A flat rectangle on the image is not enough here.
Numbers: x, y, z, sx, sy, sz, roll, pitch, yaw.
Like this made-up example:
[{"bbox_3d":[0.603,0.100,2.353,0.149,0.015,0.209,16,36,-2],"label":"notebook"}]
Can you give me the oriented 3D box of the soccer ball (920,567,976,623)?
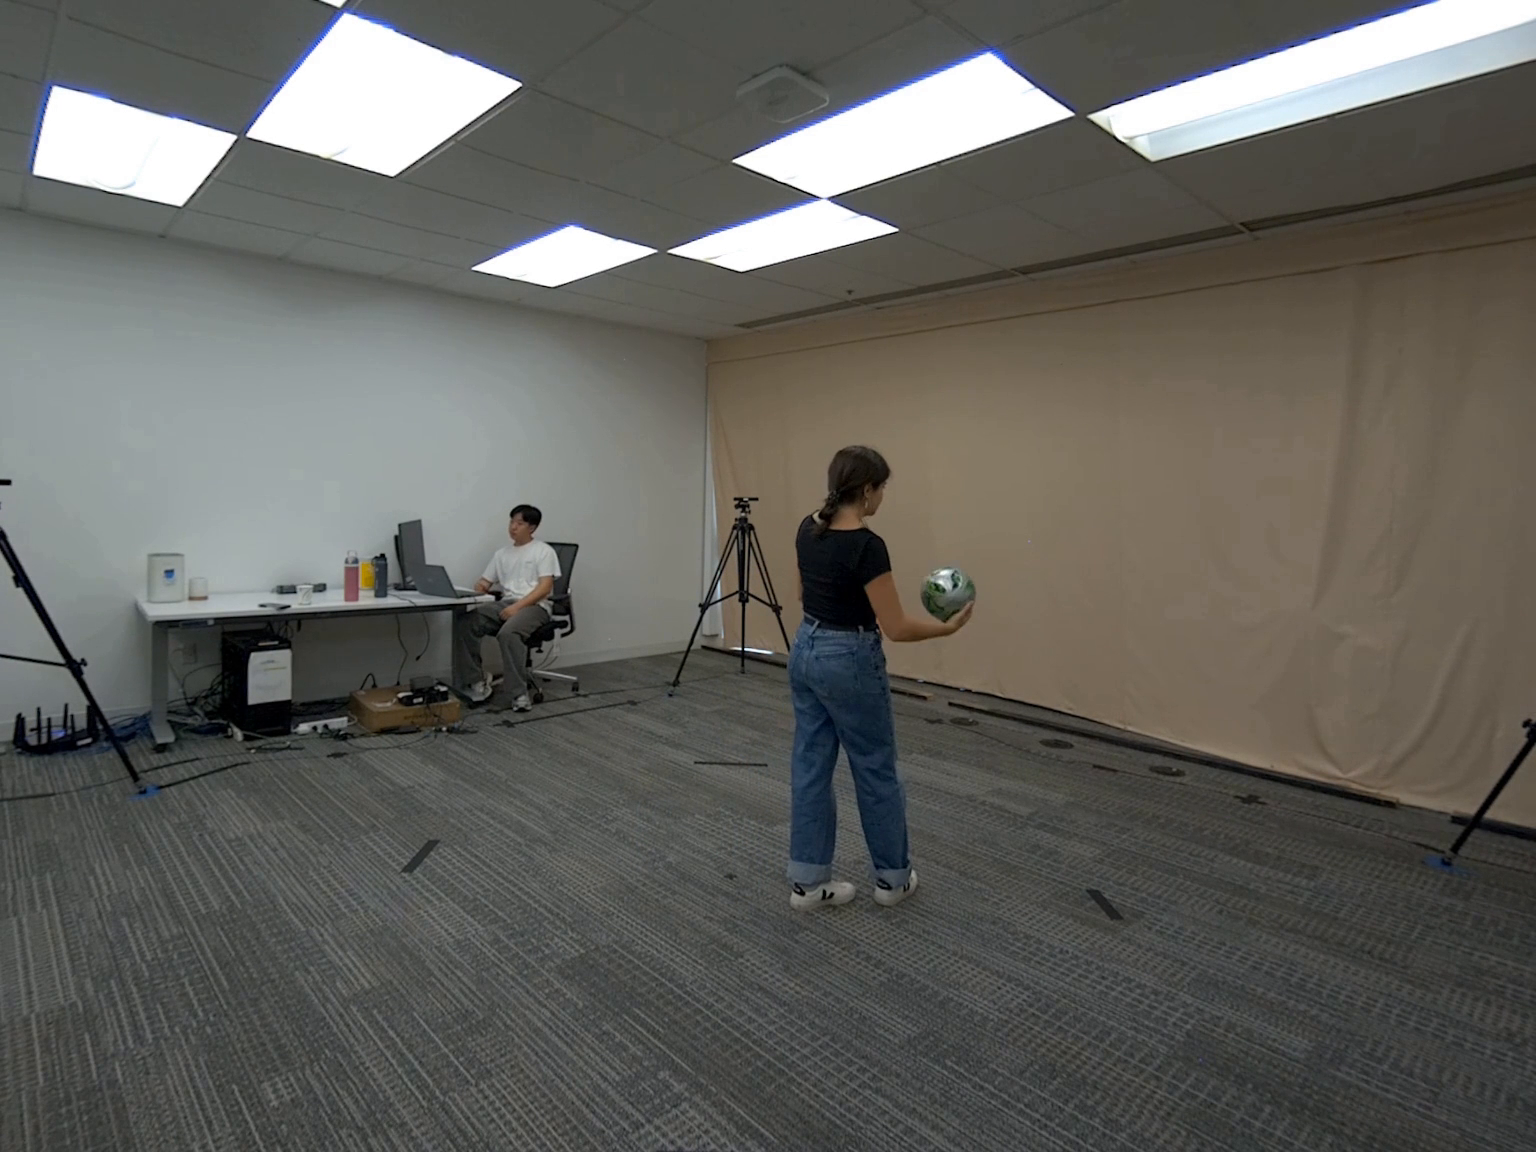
[{"bbox_3d":[0.589,0.075,2.878,0.187,0.187,0.188,1,4,-1],"label":"soccer ball"}]
